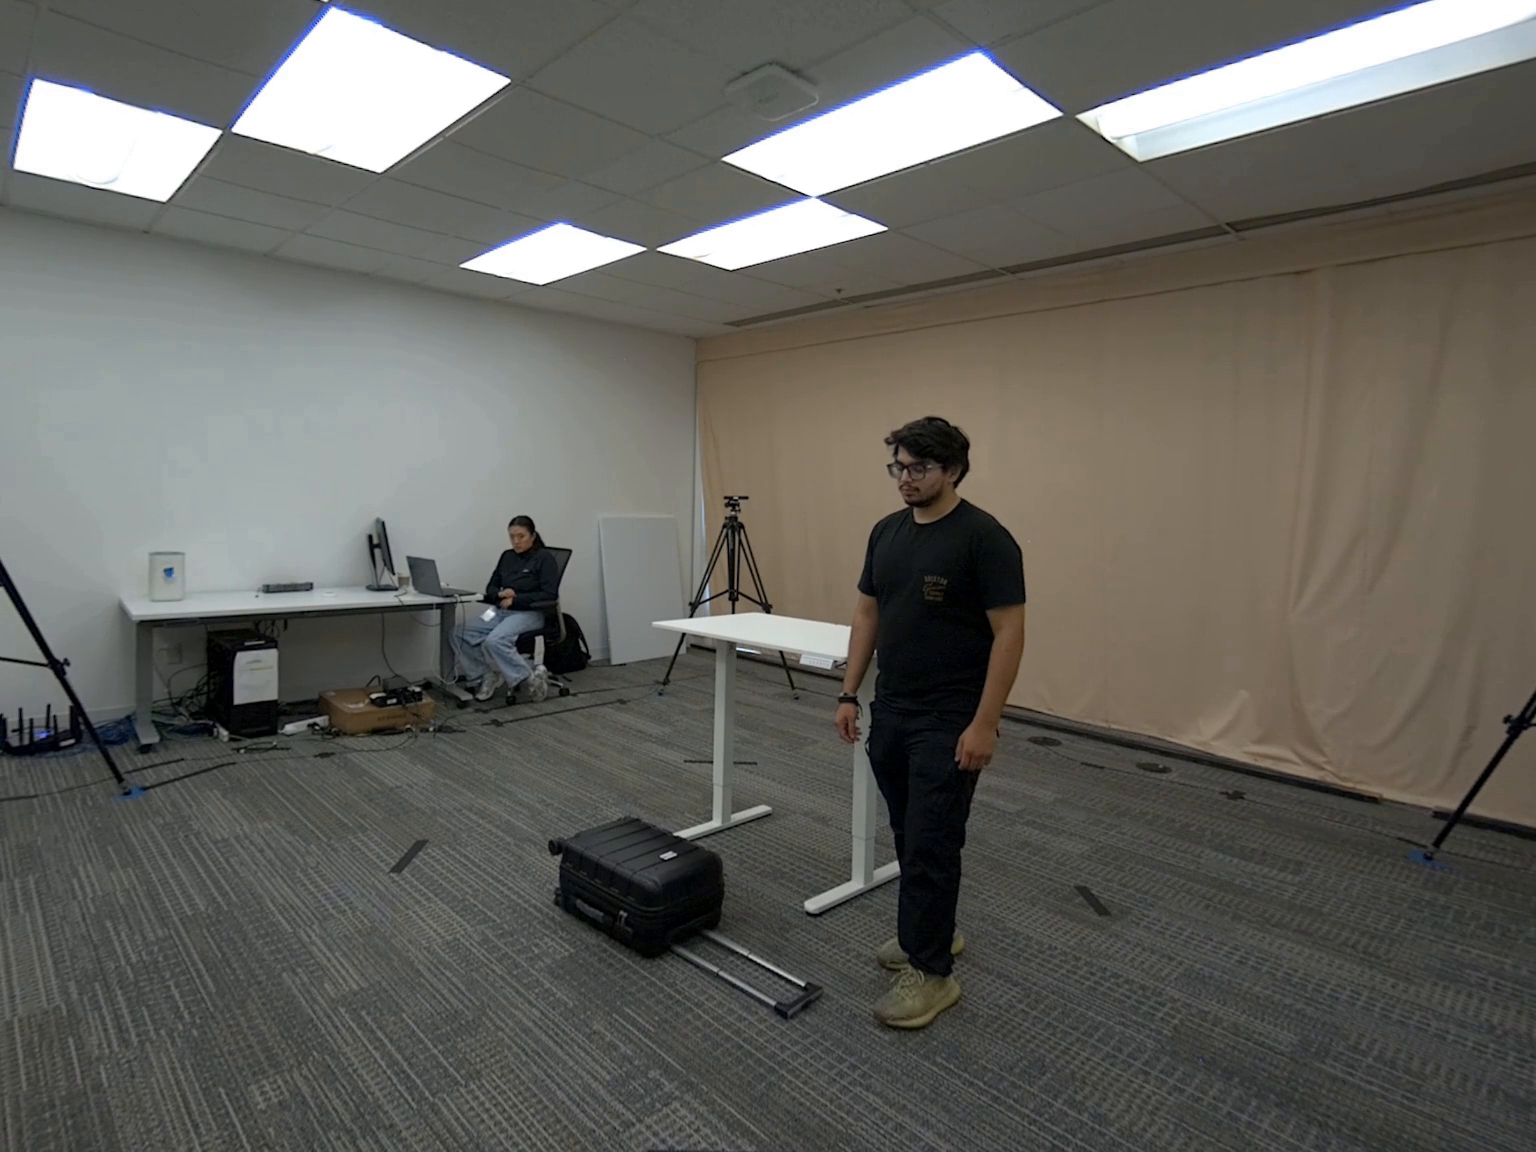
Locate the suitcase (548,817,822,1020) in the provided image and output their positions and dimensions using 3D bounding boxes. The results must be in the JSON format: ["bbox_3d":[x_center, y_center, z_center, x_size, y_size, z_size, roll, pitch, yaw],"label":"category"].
[{"bbox_3d":[-0.274,1.020,2.632,1.003,0.256,0.375,5,5,42],"label":"suitcase"}]
